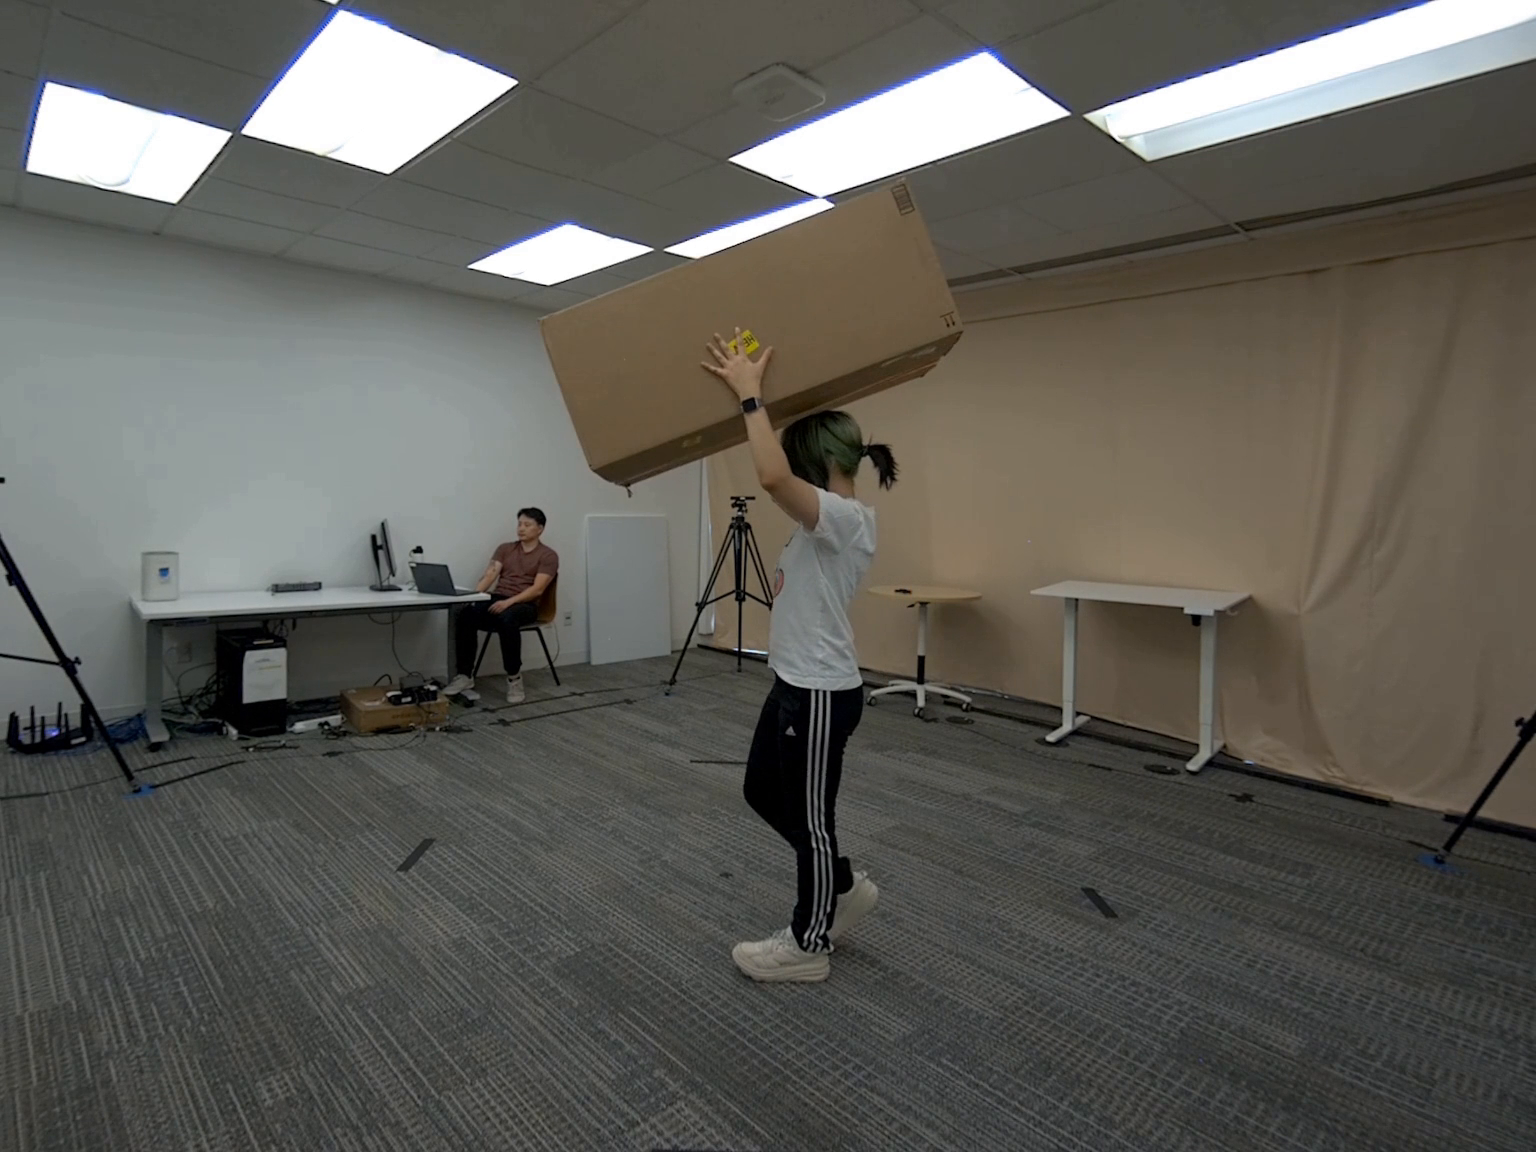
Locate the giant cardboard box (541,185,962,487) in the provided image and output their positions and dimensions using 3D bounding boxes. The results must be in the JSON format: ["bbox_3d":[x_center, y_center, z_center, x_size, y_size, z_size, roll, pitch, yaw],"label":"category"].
[{"bbox_3d":[-0.060,-0.650,2.442,1.028,0.447,0.583,-21,1,2],"label":"giant cardboard box"}]
